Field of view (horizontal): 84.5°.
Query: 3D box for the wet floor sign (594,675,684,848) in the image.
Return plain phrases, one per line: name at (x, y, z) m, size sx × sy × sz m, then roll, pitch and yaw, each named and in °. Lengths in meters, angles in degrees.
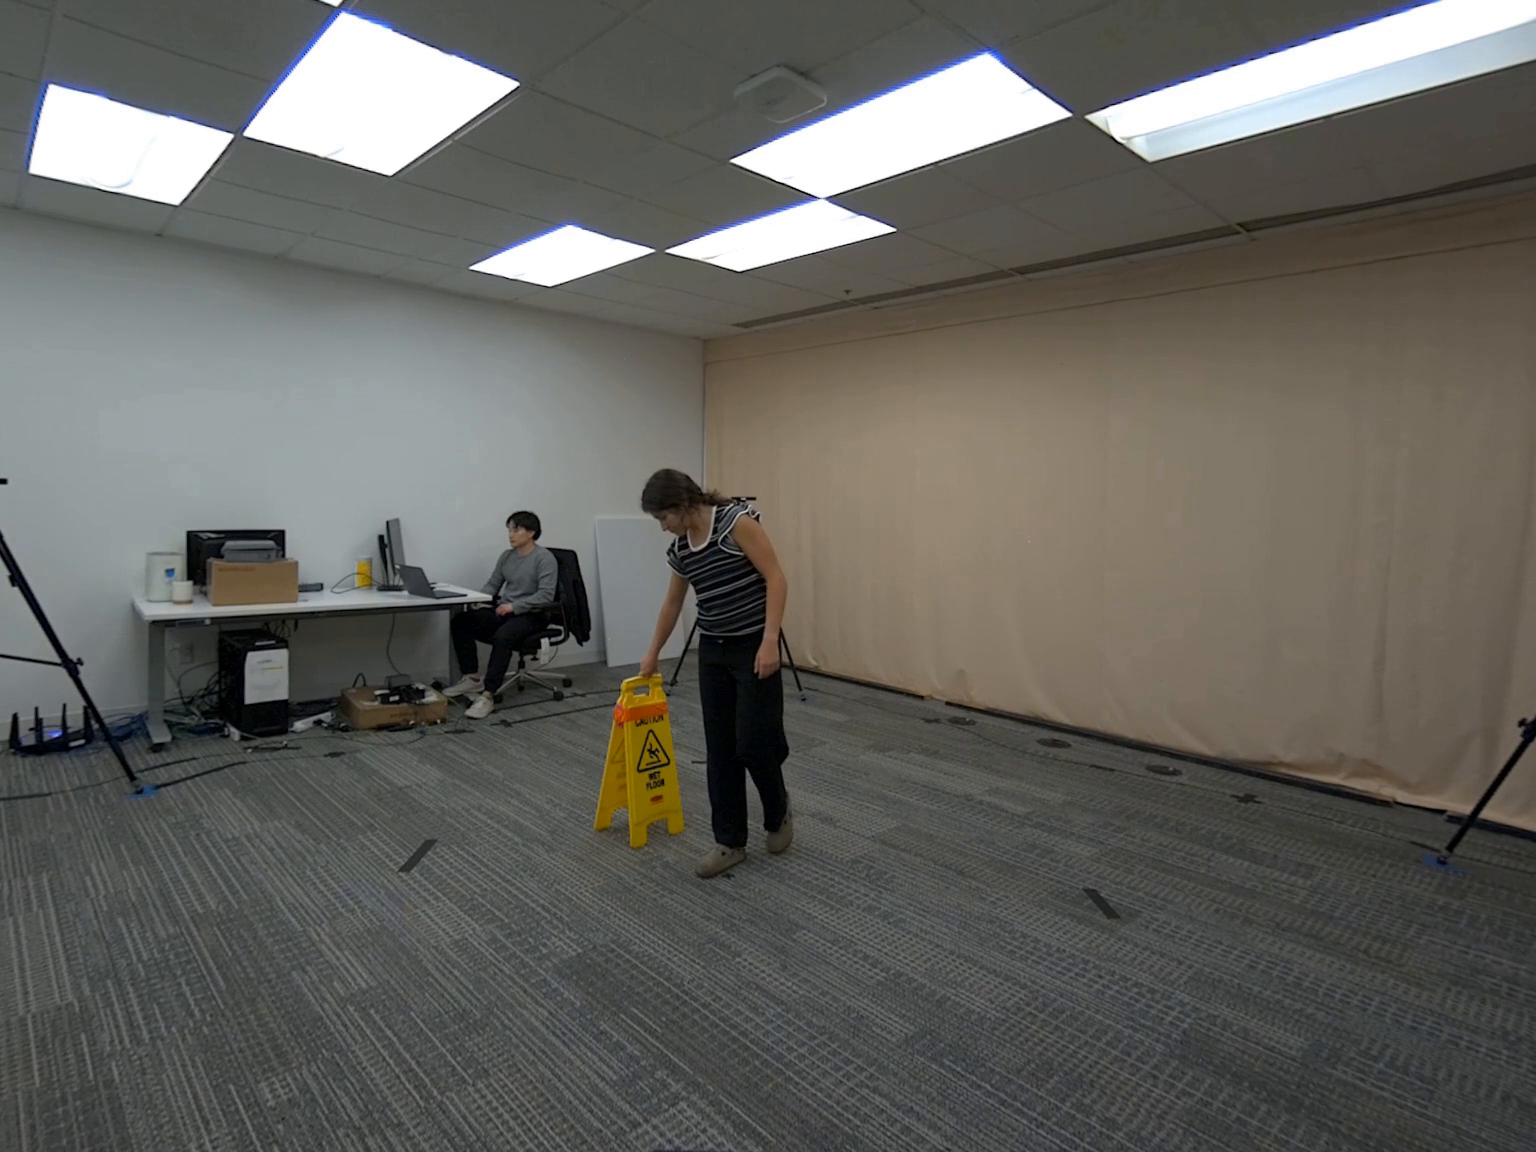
wet floor sign at (-0.538, 0.739, 3.493) m, size 0.297 × 0.645 × 0.276 m, roll 3°, pitch 3°, yaw 43°
